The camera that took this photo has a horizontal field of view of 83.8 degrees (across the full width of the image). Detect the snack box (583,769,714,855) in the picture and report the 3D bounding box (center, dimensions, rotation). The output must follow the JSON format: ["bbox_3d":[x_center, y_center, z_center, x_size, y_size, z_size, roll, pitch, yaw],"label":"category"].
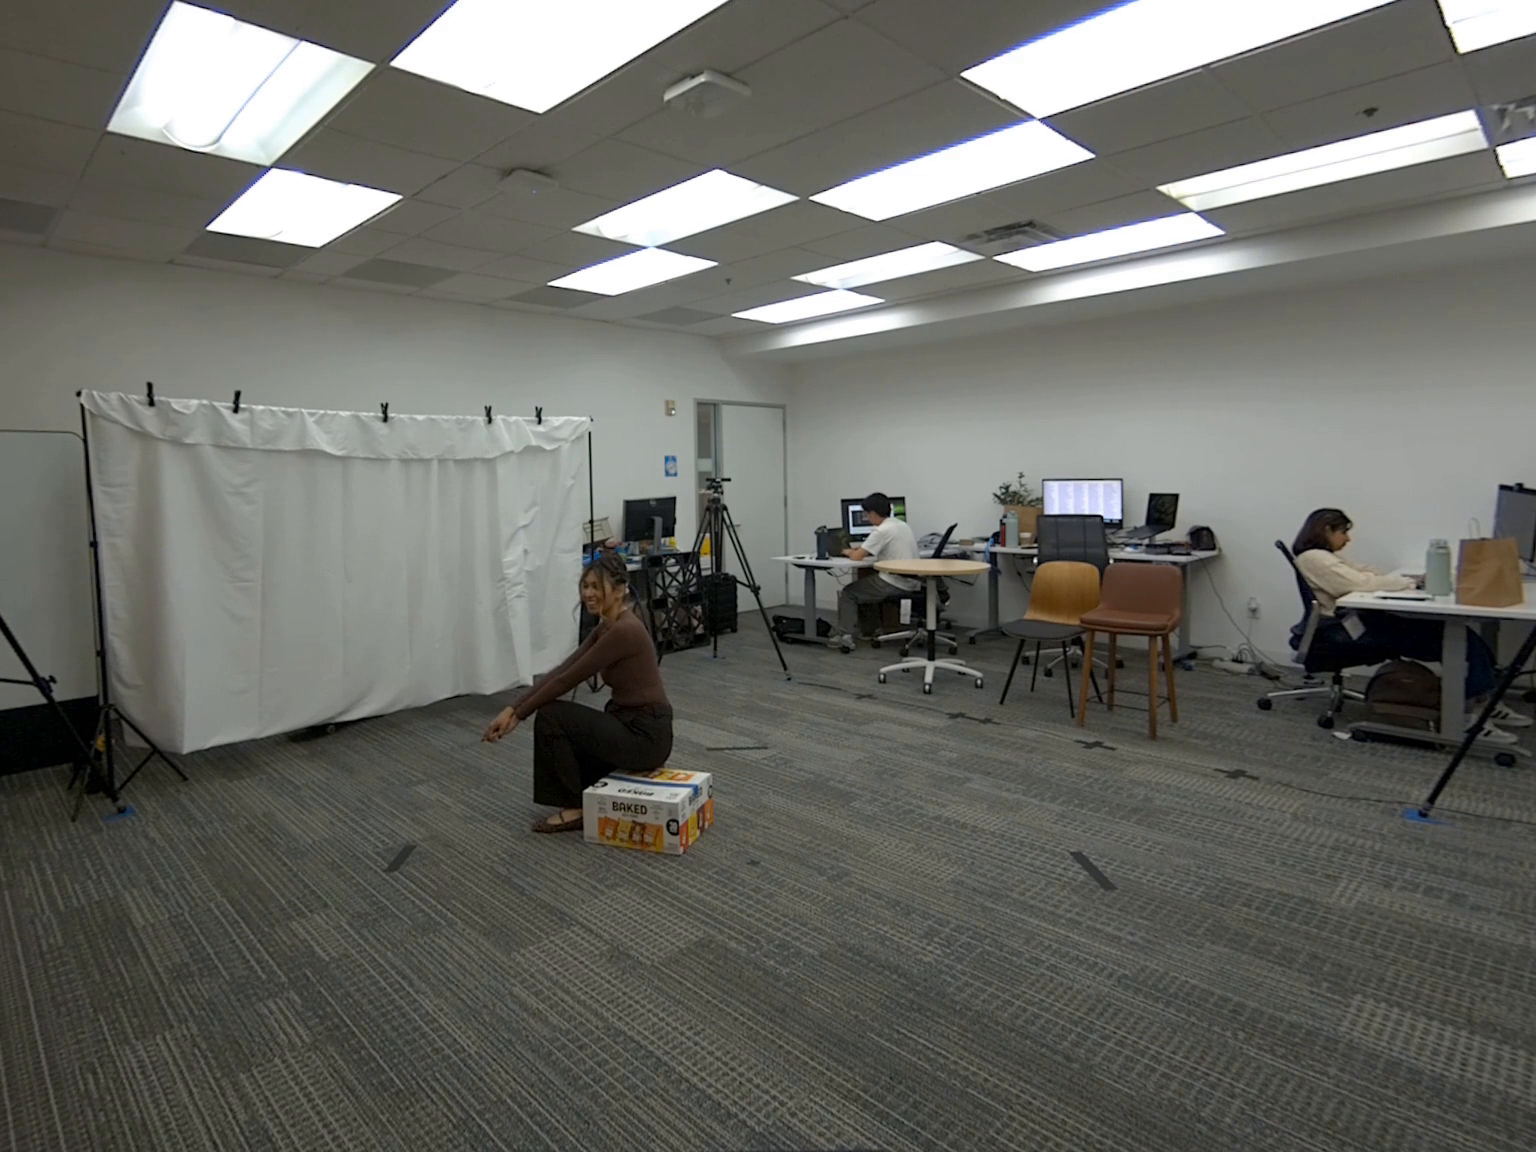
[{"bbox_3d":[-0.469,0.918,3.387,0.413,0.205,0.335,1,5,20],"label":"snack box"}]
